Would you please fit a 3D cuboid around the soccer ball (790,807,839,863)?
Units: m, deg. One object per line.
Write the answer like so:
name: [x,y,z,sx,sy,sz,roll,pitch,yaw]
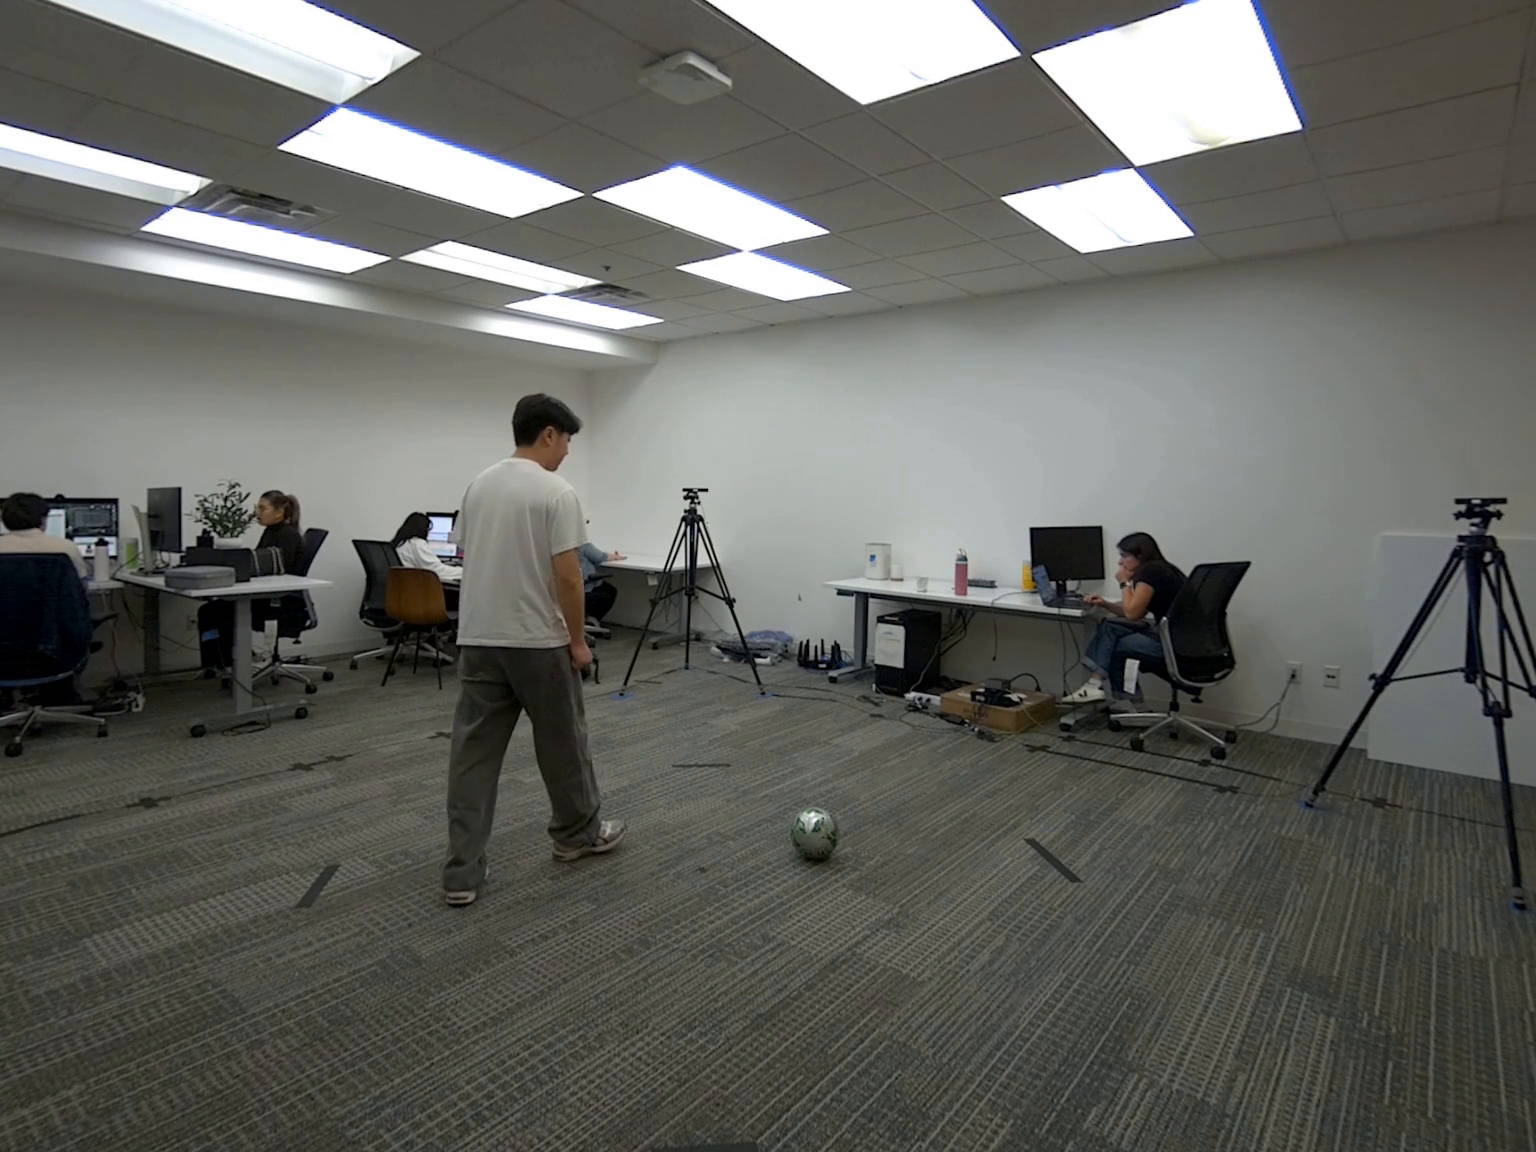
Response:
soccer ball: [0.179,0.970,3.229,0.187,0.187,0.188,1,4,-2]
